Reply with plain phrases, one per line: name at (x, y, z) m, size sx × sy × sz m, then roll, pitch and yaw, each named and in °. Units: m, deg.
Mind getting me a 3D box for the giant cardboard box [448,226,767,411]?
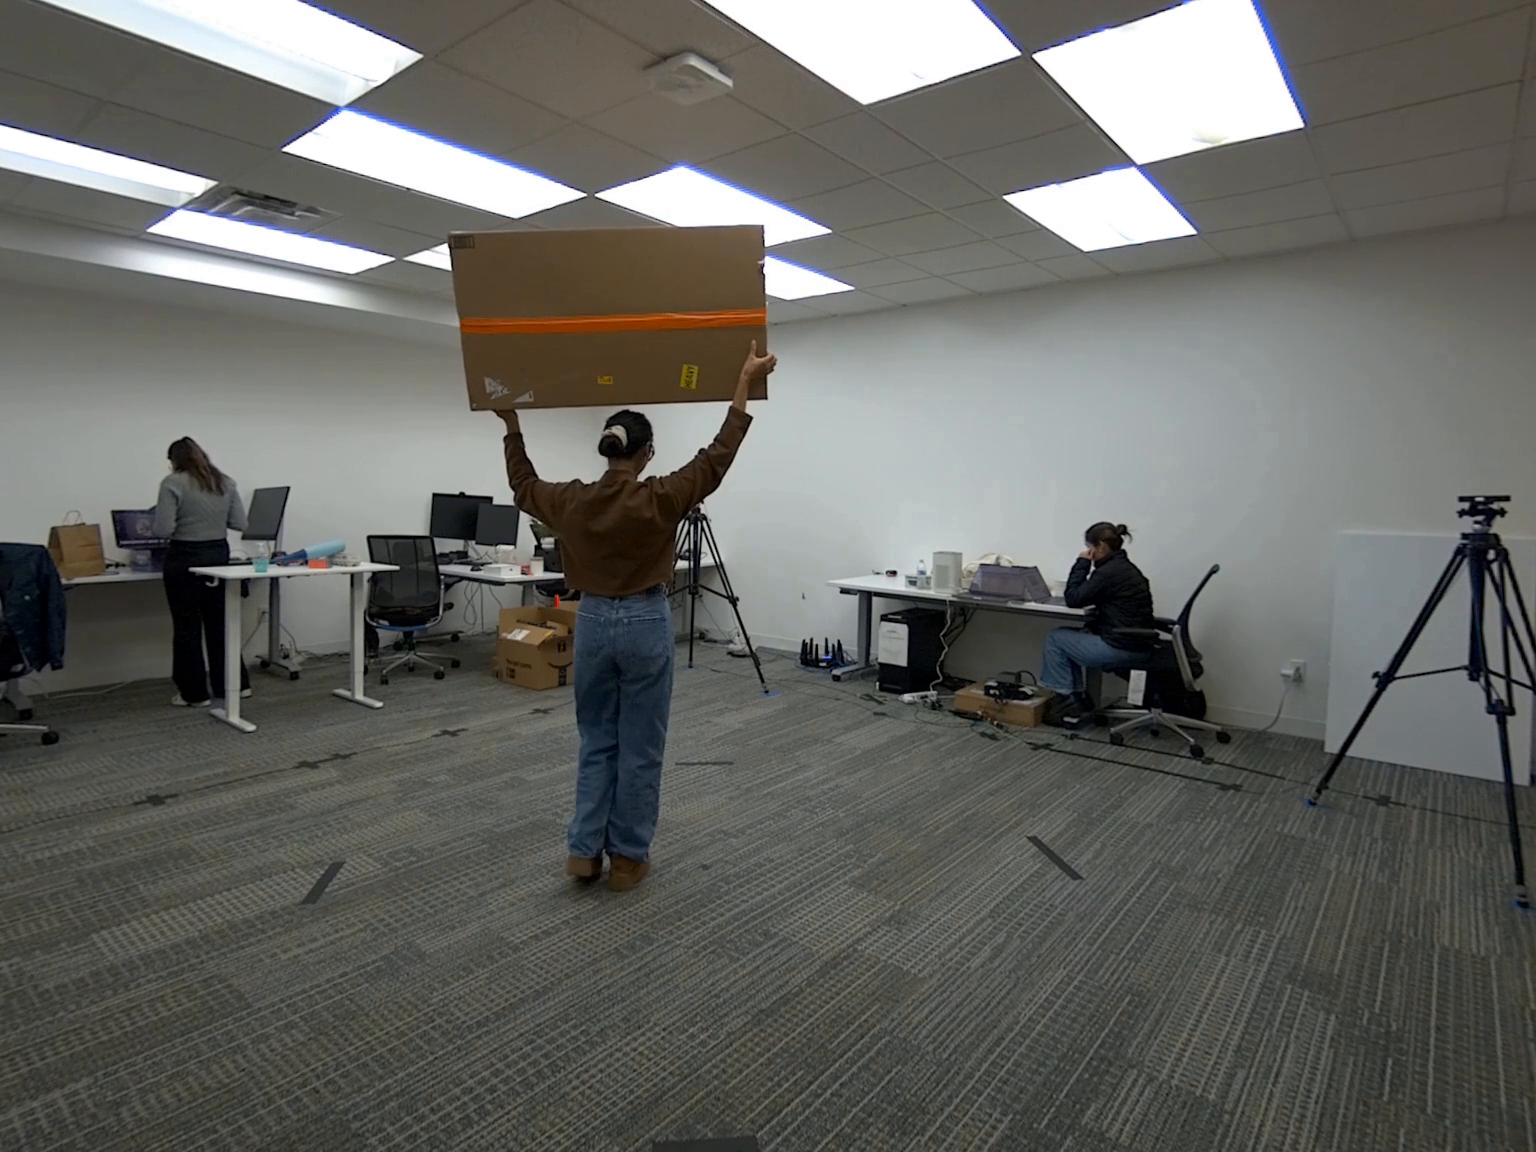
giant cardboard box at (-0.544, -0.926, 3.000) m, size 1.025 × 0.566 × 0.435 m, roll -2°, pitch 21°, yaw -1°
